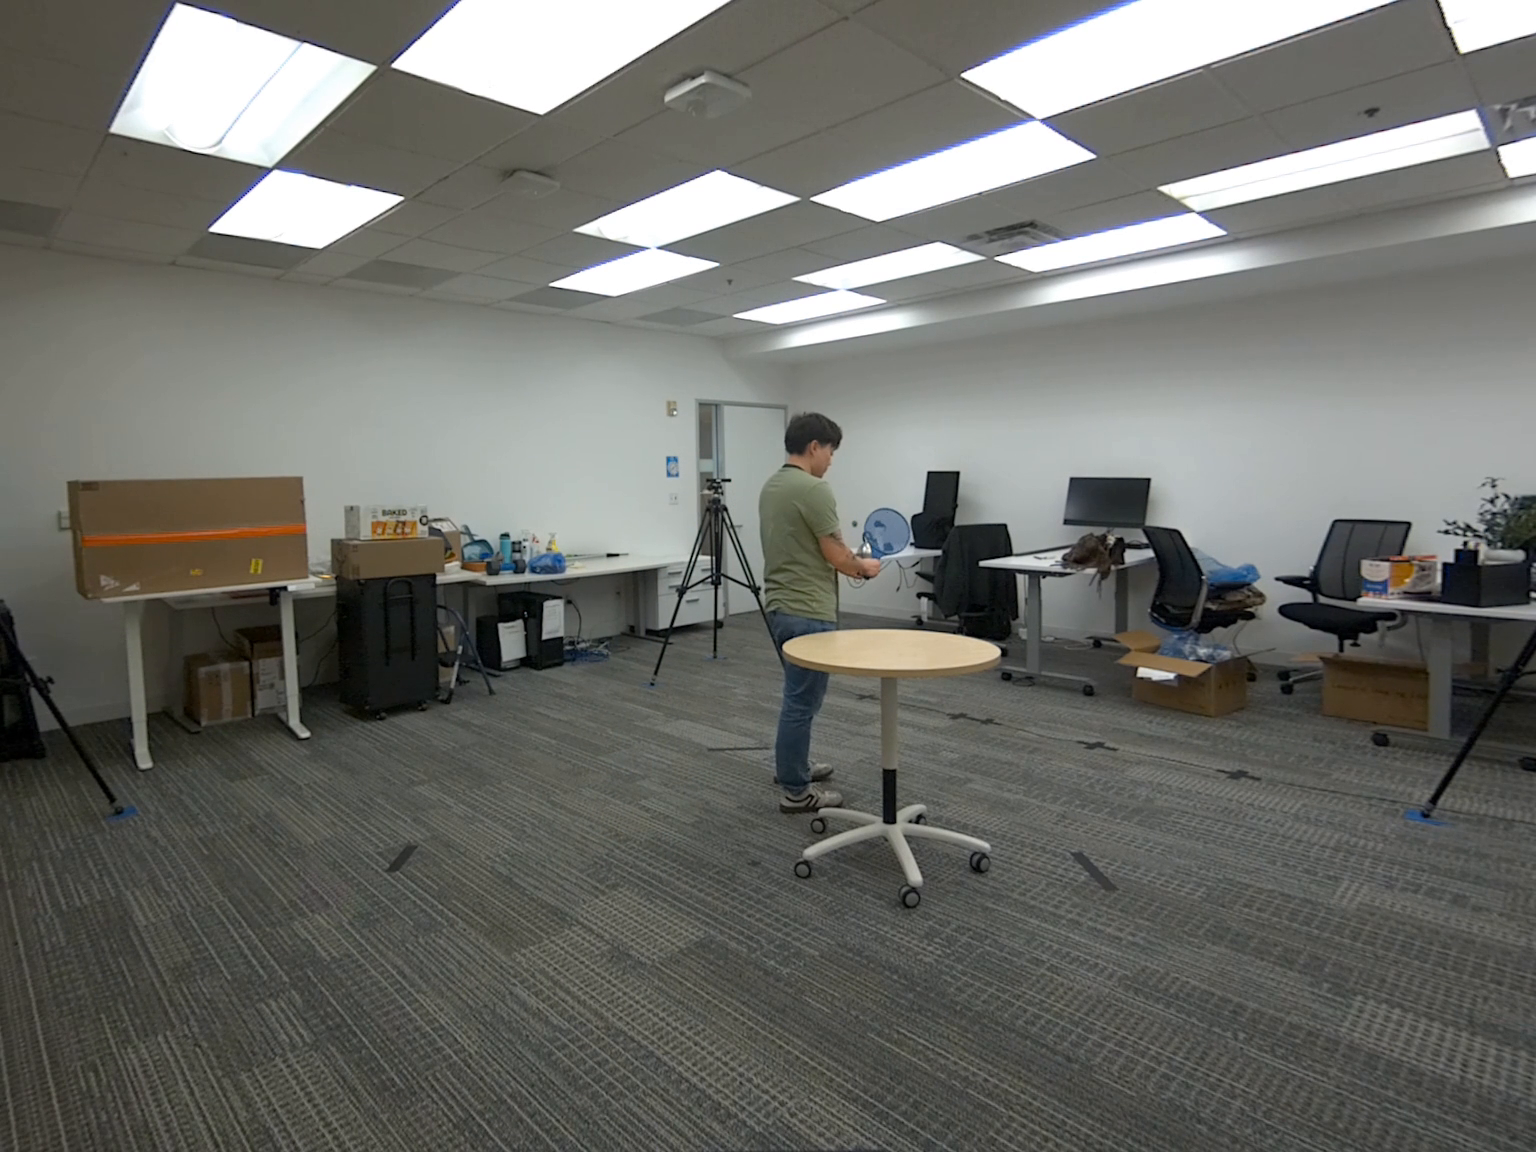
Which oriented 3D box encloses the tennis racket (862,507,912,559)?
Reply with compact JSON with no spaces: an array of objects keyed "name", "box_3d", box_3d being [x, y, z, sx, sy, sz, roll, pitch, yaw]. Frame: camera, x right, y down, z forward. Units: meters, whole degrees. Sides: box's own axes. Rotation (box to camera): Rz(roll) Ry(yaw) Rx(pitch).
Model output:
[{"name":"tennis racket","box_3d":[0.495,-0.137,3.773,0.213,0.435,0.031,36,-33,-2]}]
